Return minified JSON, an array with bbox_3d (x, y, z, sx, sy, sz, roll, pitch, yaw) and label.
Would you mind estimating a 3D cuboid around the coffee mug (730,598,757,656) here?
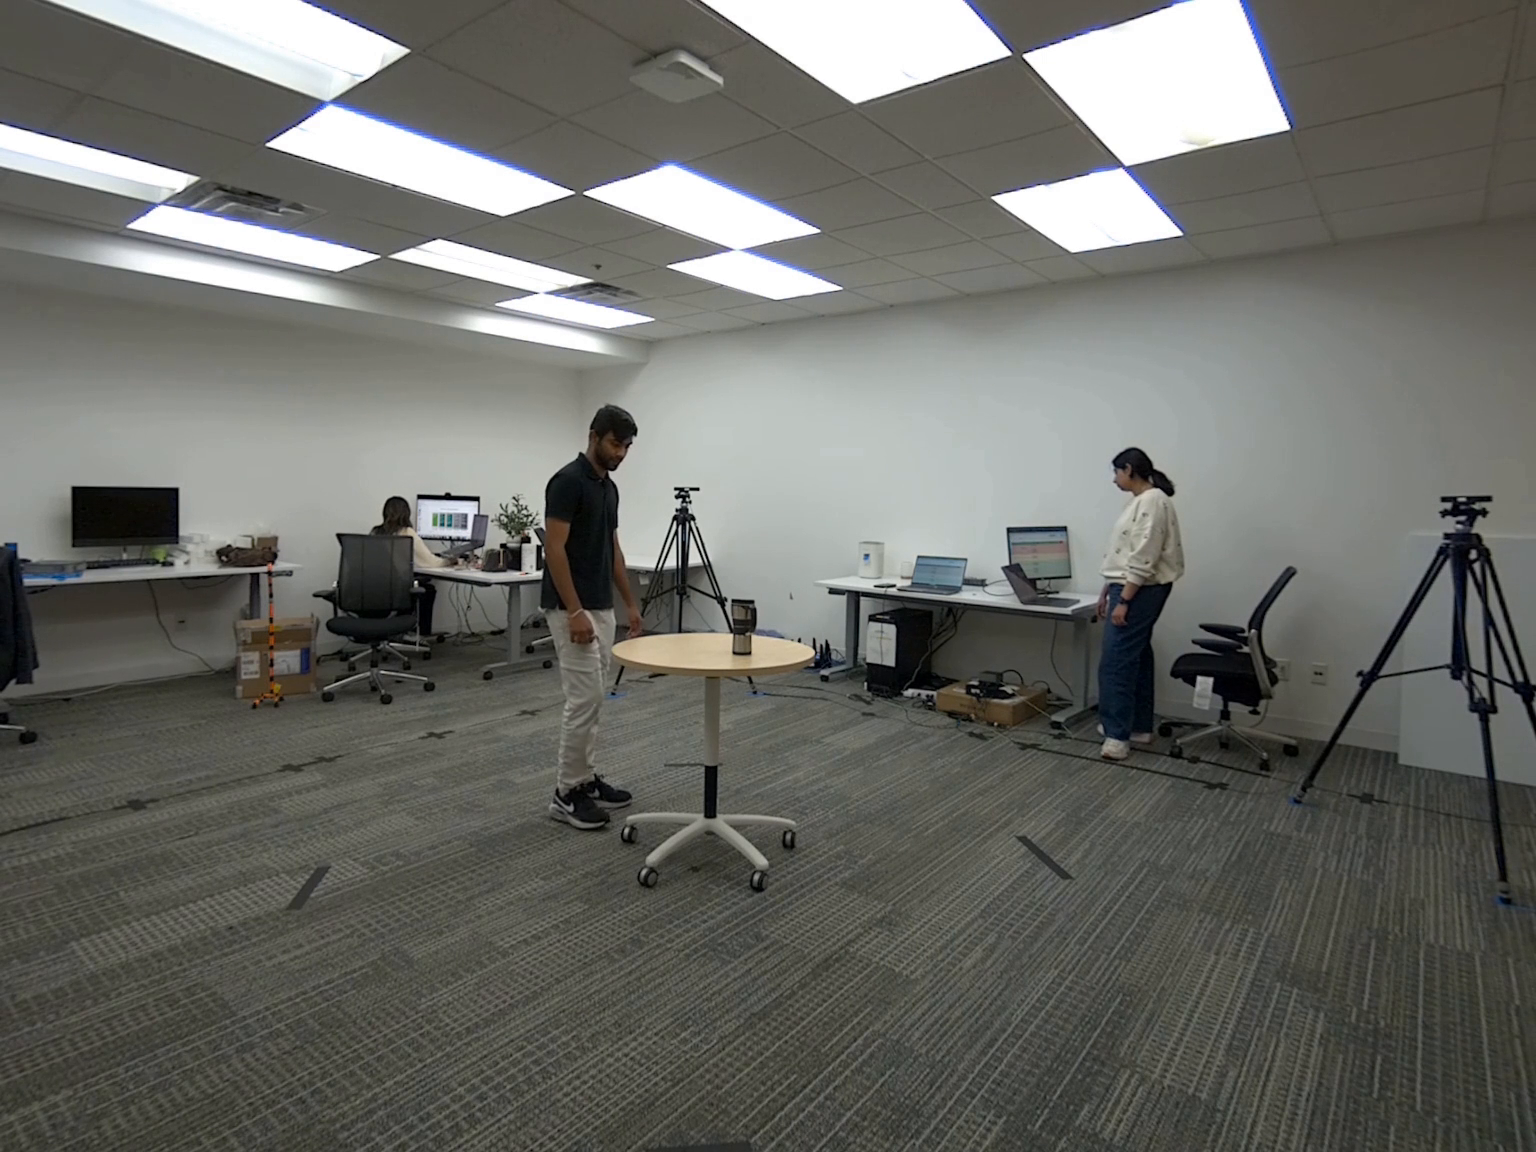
[{"bbox_3d":[-0.109,0.186,3.127,0.085,0.202,0.126,-3,9,-38],"label":"coffee mug"}]
